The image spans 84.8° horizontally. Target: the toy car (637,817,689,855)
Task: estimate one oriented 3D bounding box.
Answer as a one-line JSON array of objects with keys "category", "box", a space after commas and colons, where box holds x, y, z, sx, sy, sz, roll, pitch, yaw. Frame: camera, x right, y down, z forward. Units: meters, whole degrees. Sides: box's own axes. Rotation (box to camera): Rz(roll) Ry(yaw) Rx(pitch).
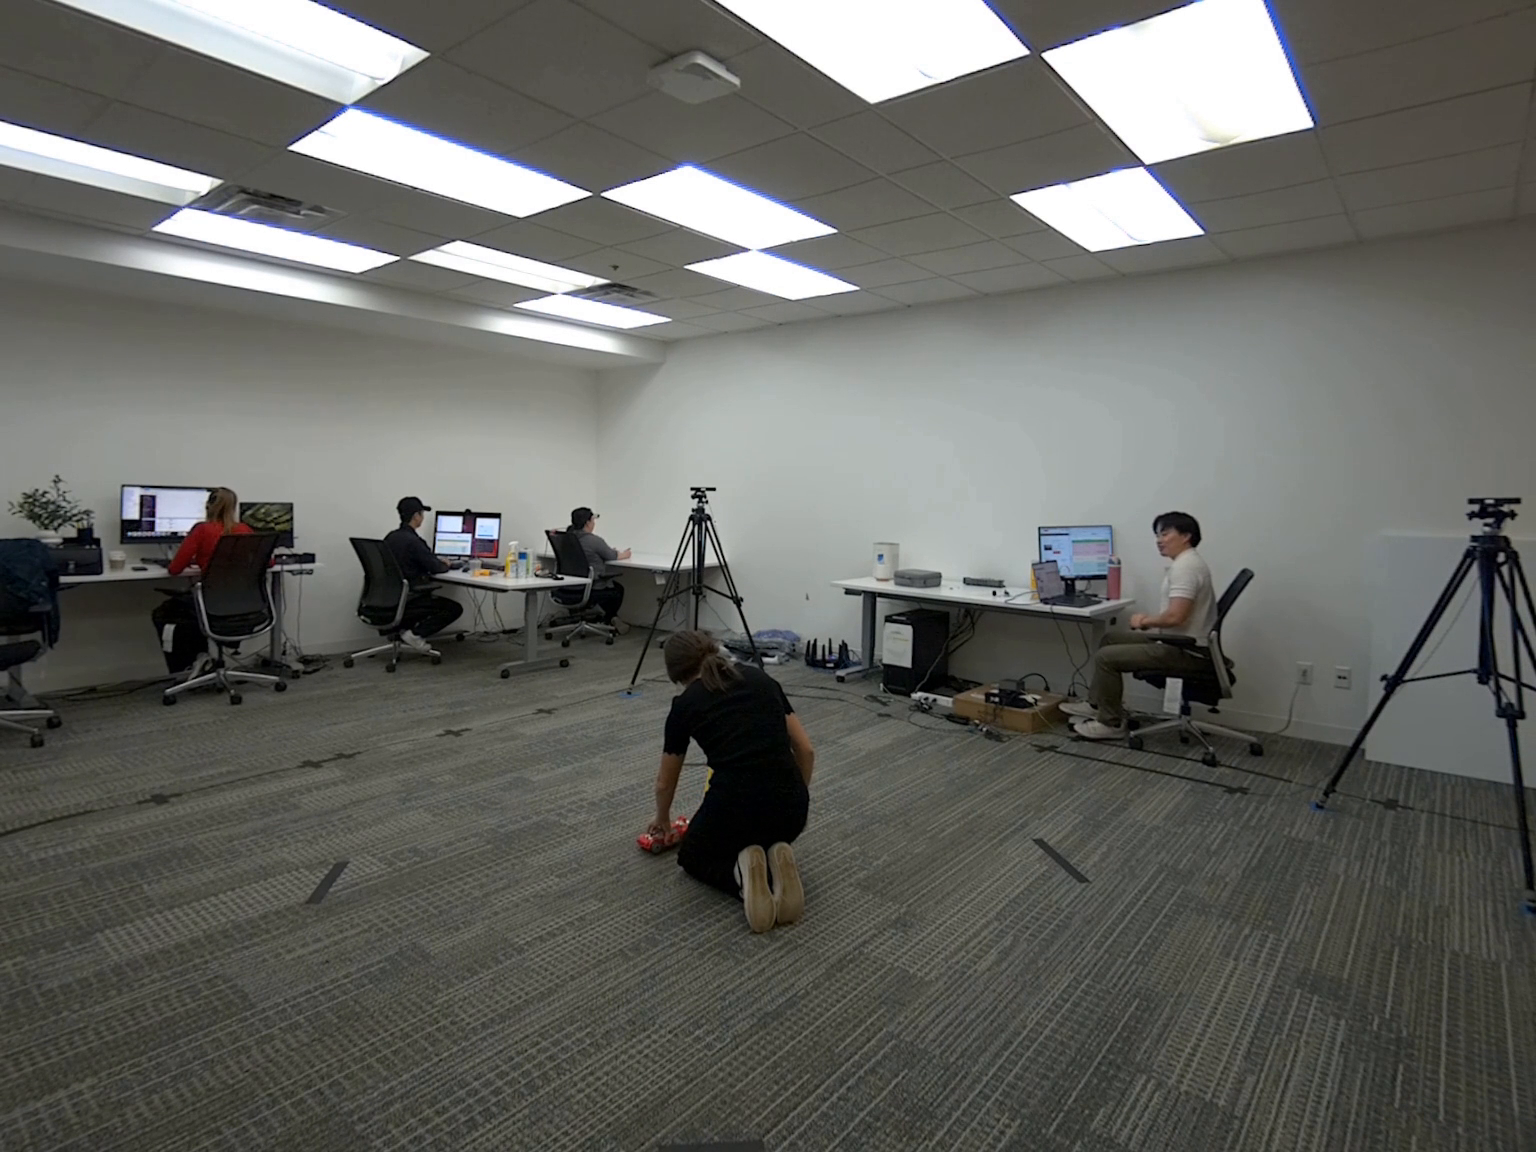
[{"category": "toy car", "box": [-0.392, 1.002, 3.309, 0.250, 0.083, 0.133, -21, 7, -35]}]
